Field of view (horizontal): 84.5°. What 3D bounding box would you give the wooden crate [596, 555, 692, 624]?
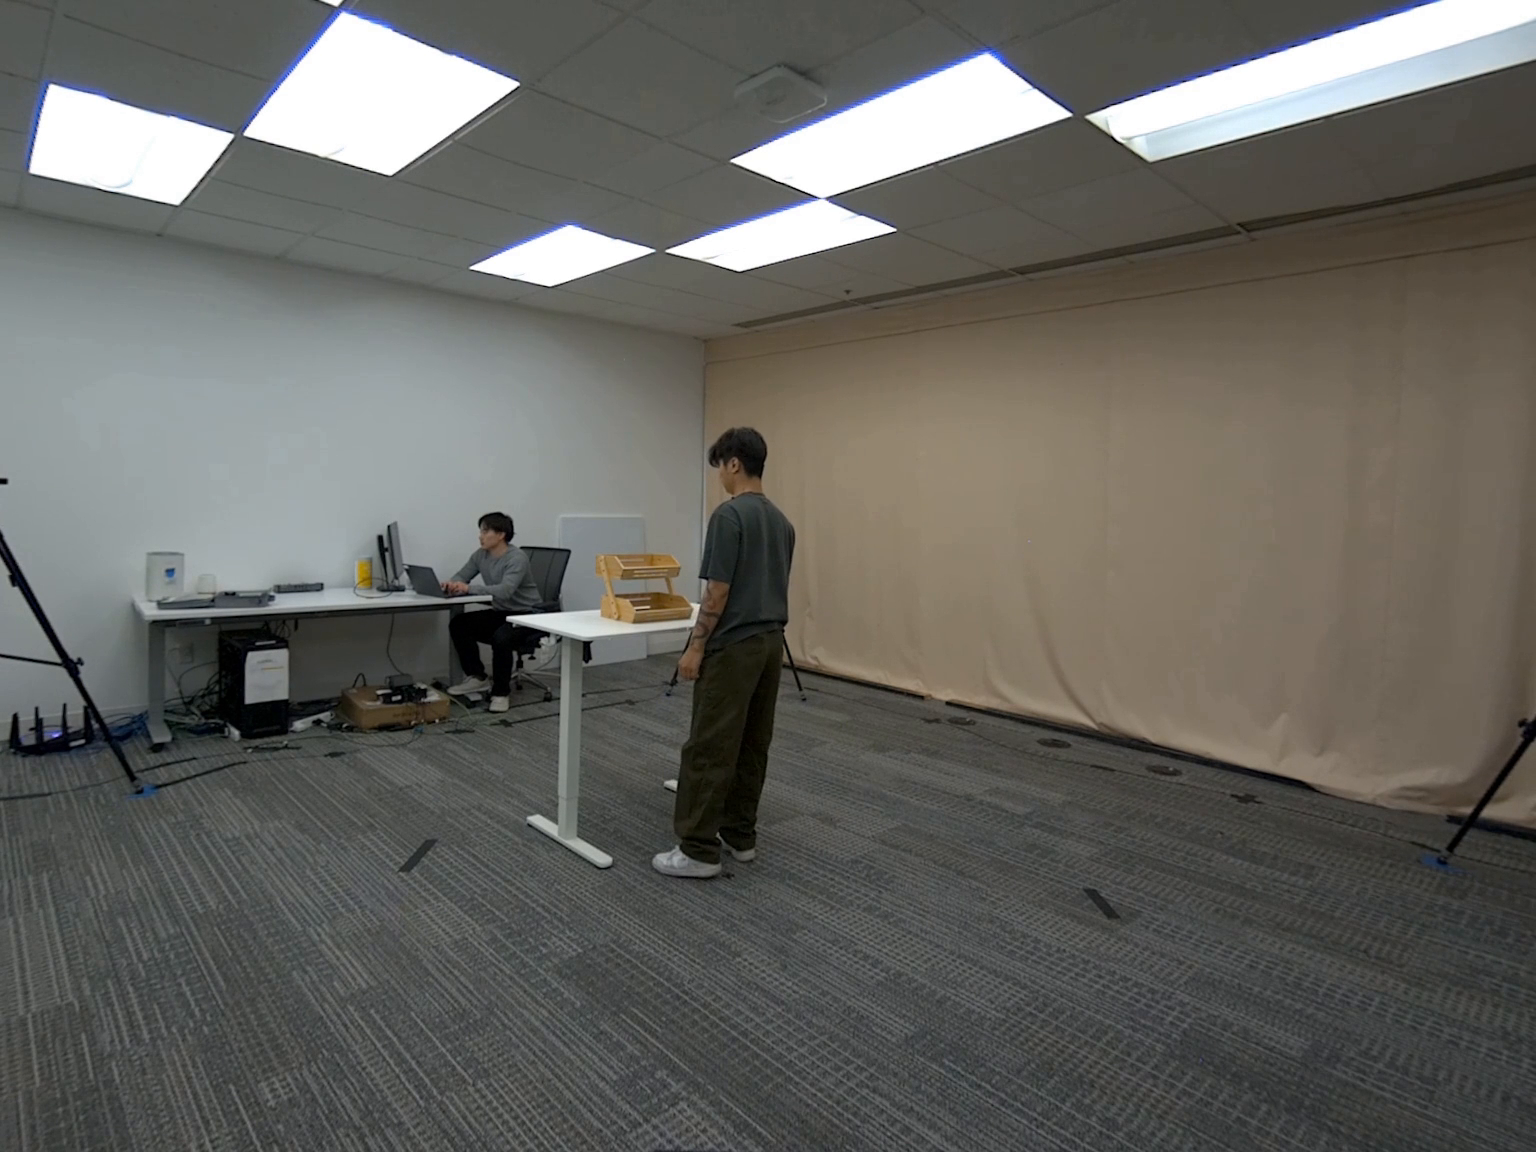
[{"bbox_3d":[-0.533,0.043,3.564,0.317,0.273,0.310,-1,4,-42],"label":"wooden crate"}]
